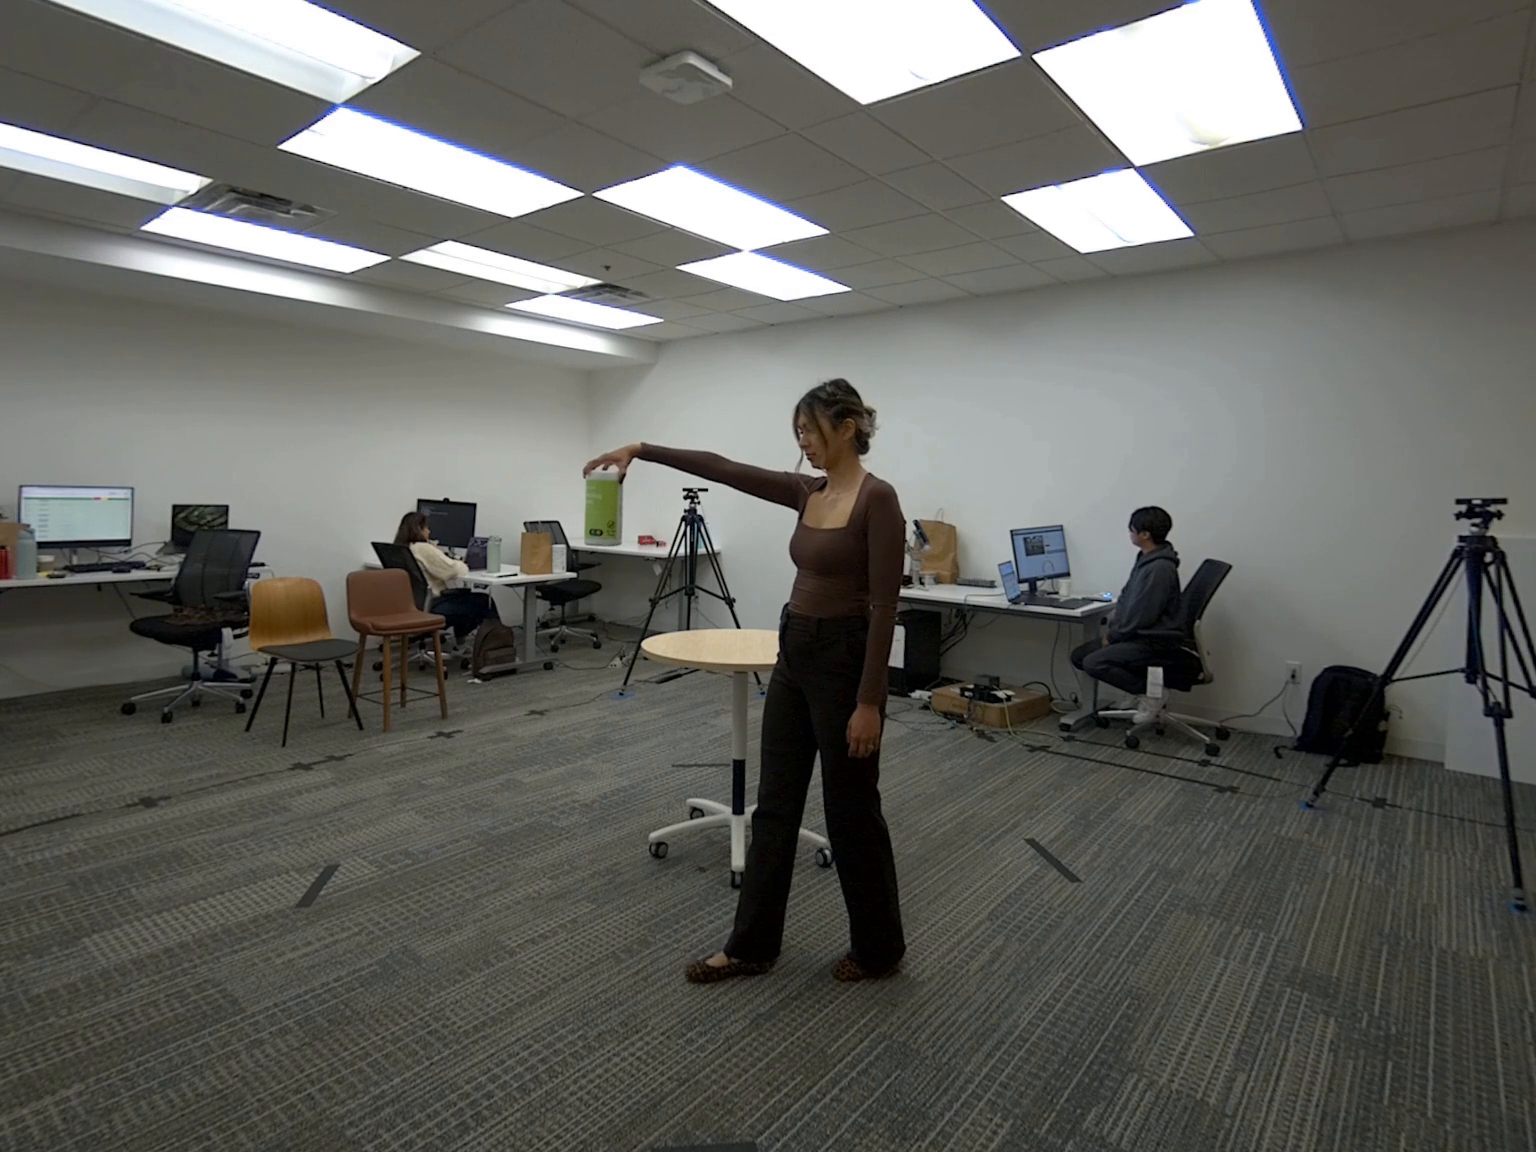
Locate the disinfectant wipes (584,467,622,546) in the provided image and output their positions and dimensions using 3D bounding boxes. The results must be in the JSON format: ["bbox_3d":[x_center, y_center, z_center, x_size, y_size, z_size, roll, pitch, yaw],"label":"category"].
[{"bbox_3d":[-0.487,-0.201,2.454,0.118,0.217,0.118,2,2,-2],"label":"disinfectant wipes"}]
